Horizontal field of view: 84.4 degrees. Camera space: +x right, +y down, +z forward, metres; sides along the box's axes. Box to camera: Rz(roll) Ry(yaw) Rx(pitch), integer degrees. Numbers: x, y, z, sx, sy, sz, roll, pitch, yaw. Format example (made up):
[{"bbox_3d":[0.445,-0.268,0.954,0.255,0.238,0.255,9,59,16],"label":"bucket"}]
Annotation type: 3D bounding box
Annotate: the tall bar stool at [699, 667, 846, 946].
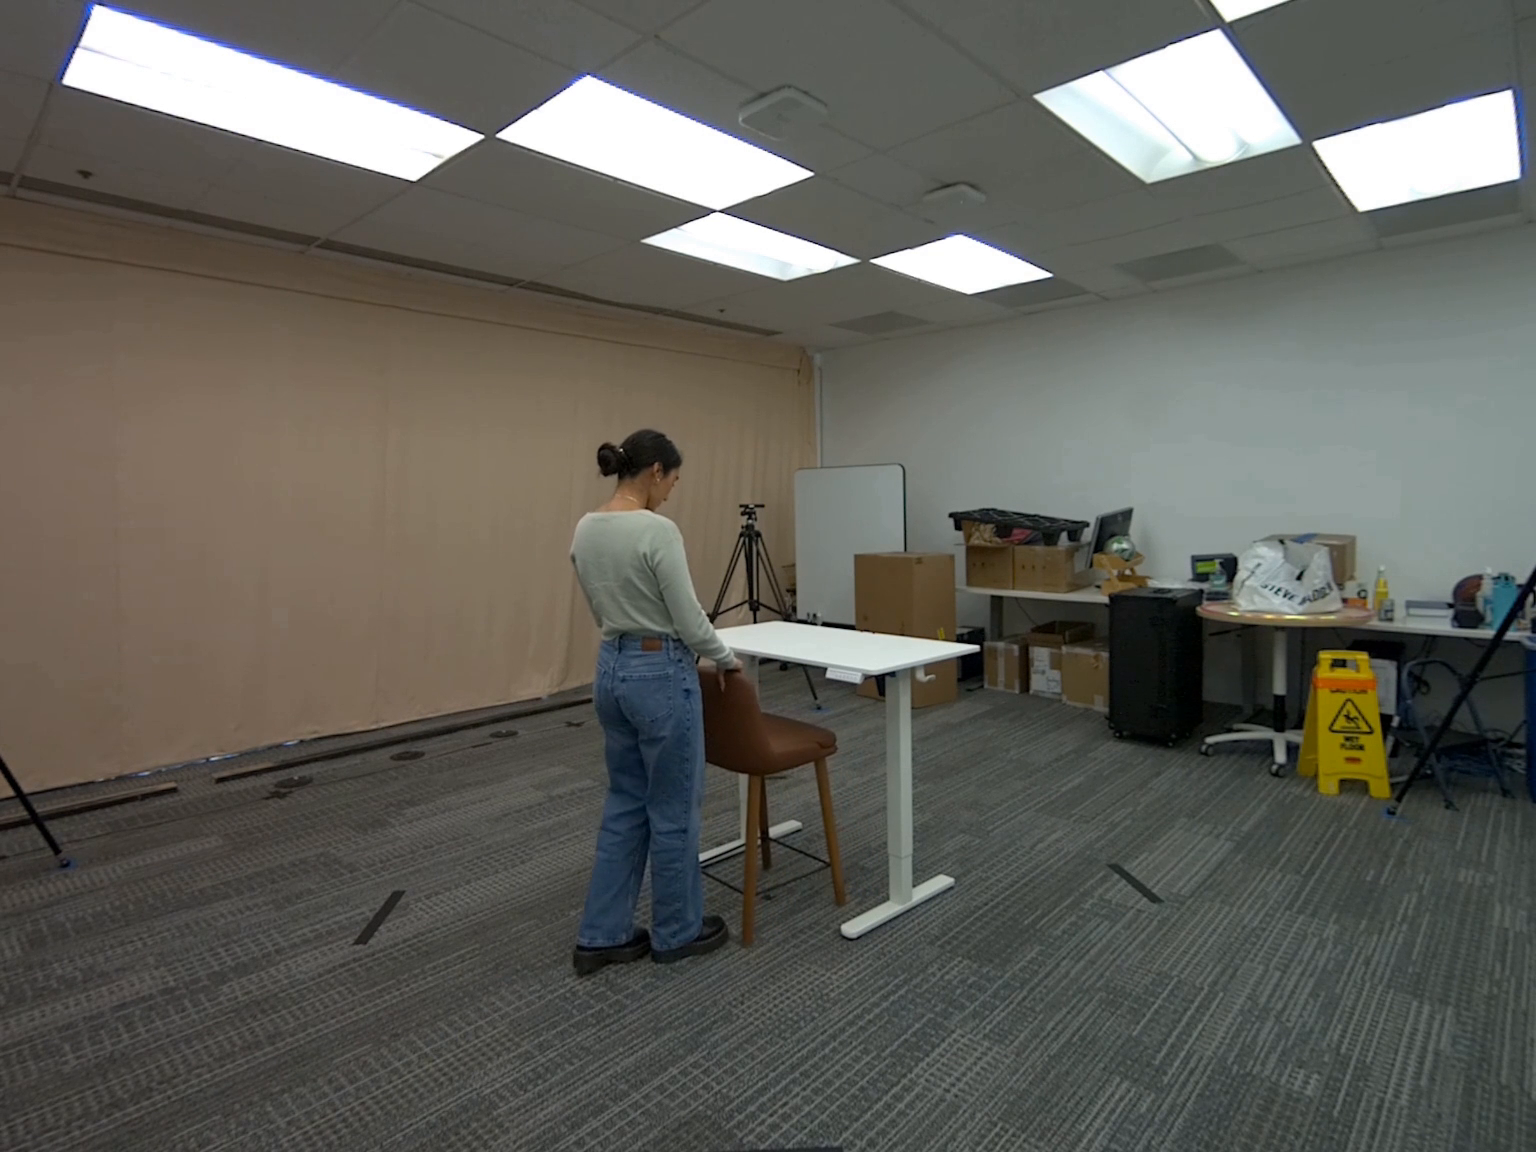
[{"bbox_3d":[-0.045,0.709,2.898,0.454,0.886,0.472,-7,7,-40],"label":"tall bar stool"}]
